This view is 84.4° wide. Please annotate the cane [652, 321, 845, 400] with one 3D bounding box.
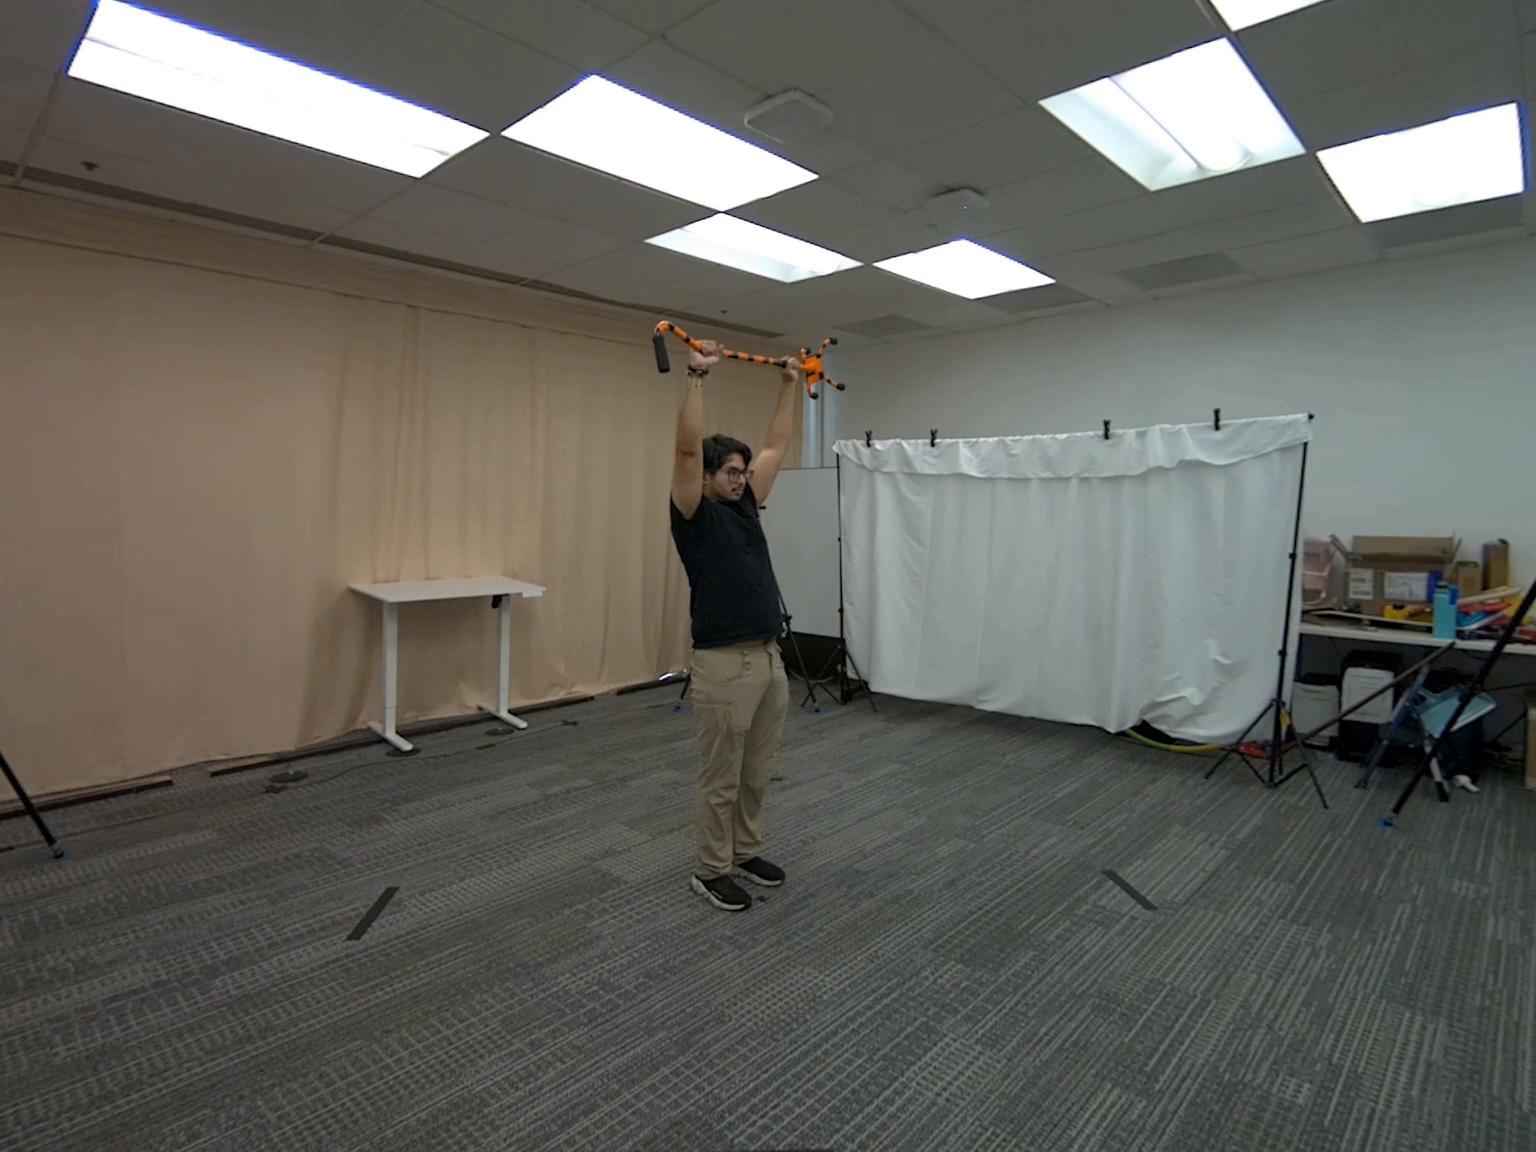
[{"bbox_3d":[-0.051,-0.750,2.858,0.155,0.207,0.881,-14,-4,38],"label":"cane"}]
